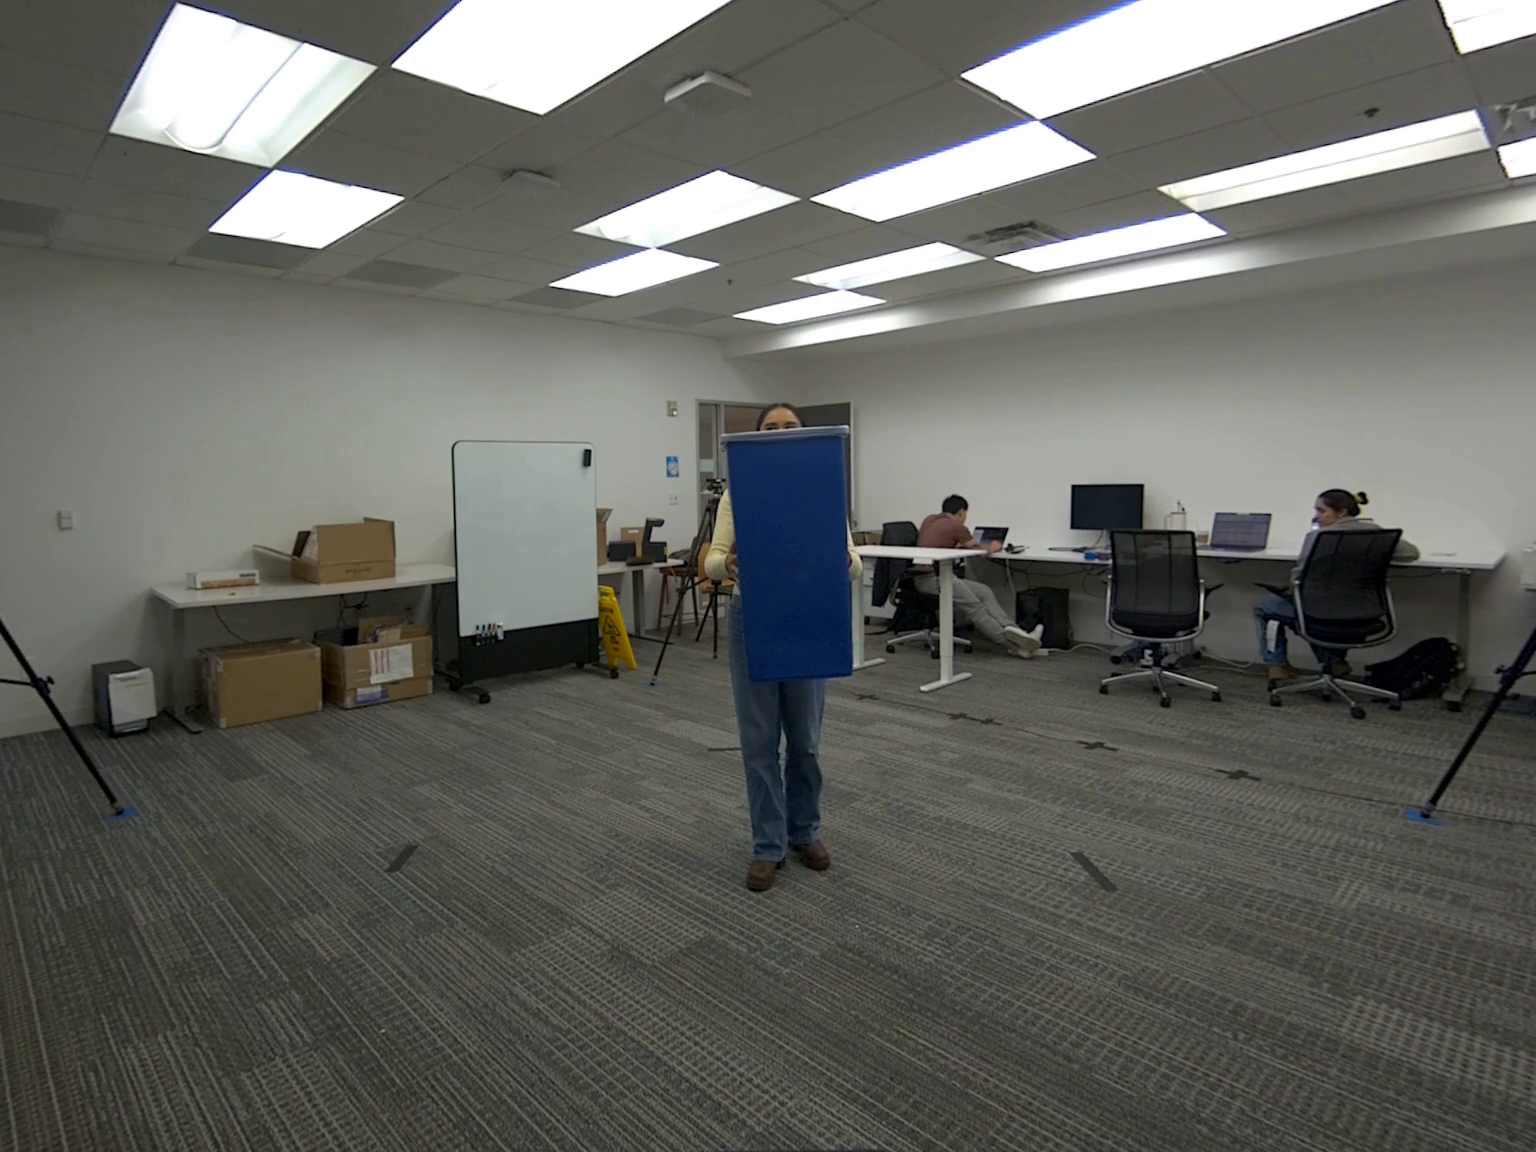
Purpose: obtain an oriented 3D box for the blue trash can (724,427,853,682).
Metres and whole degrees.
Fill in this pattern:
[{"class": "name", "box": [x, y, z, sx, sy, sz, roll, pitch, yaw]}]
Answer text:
[{"class": "blue trash can", "box": [0.066, -0.073, 2.571, 0.378, 0.714, 0.374, -4, 0, -1]}]
